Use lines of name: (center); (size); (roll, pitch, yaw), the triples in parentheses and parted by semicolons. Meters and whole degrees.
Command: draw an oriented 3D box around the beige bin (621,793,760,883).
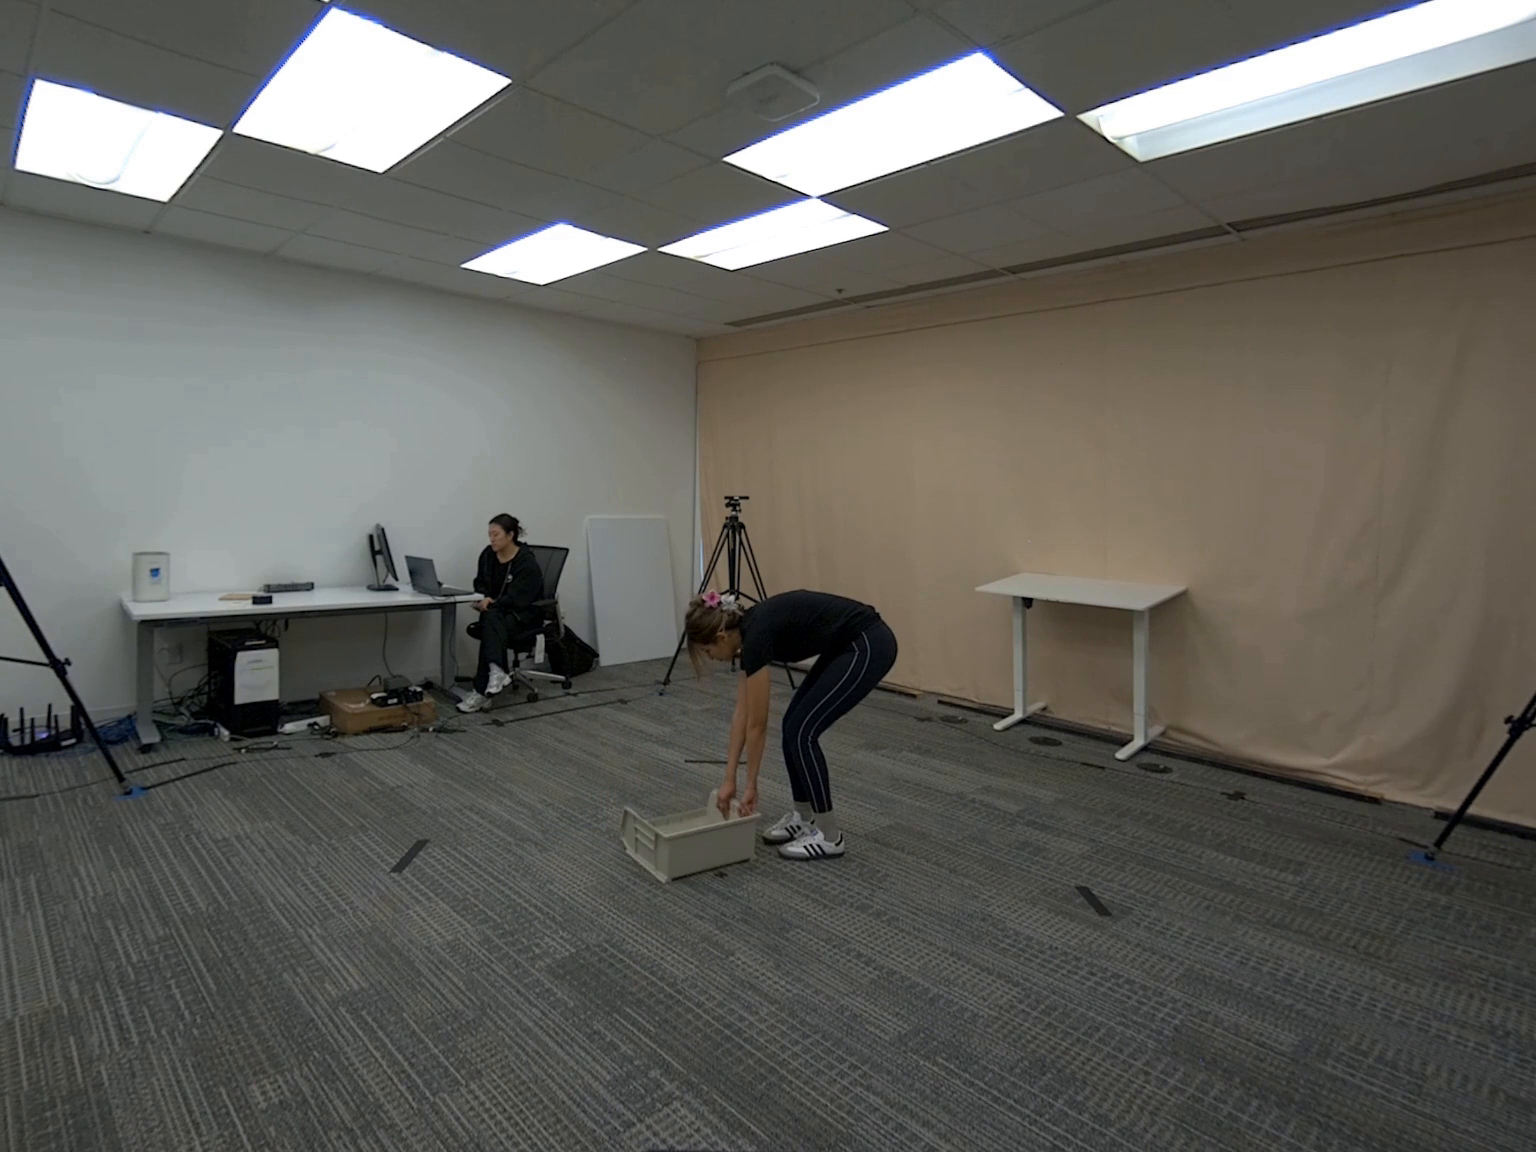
beige bin: (-0.317, 0.995, 3.277); (0.413, 0.188, 0.387); (-2, 6, -35)
